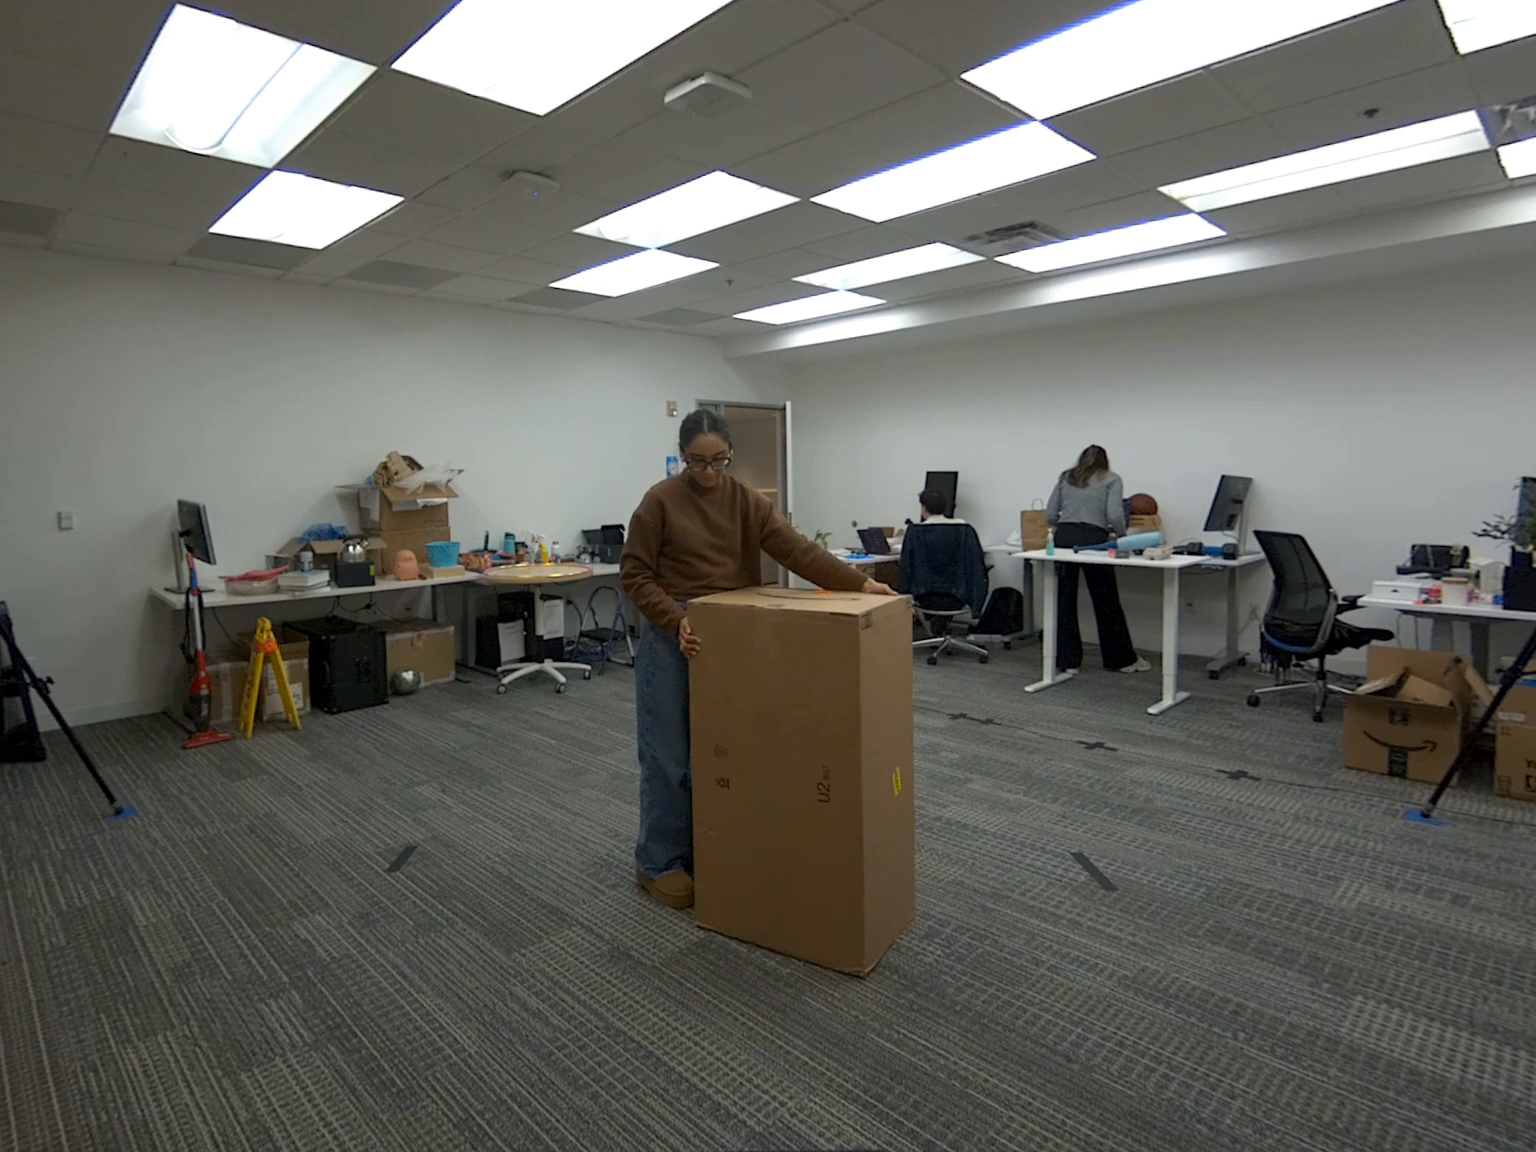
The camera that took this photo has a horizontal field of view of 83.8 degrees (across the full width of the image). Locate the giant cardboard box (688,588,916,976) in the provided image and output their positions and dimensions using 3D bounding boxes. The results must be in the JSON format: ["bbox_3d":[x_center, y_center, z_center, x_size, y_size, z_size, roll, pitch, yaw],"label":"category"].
[{"bbox_3d":[0.110,0.576,2.668,0.593,1.023,0.416,0,4,32],"label":"giant cardboard box"}]
